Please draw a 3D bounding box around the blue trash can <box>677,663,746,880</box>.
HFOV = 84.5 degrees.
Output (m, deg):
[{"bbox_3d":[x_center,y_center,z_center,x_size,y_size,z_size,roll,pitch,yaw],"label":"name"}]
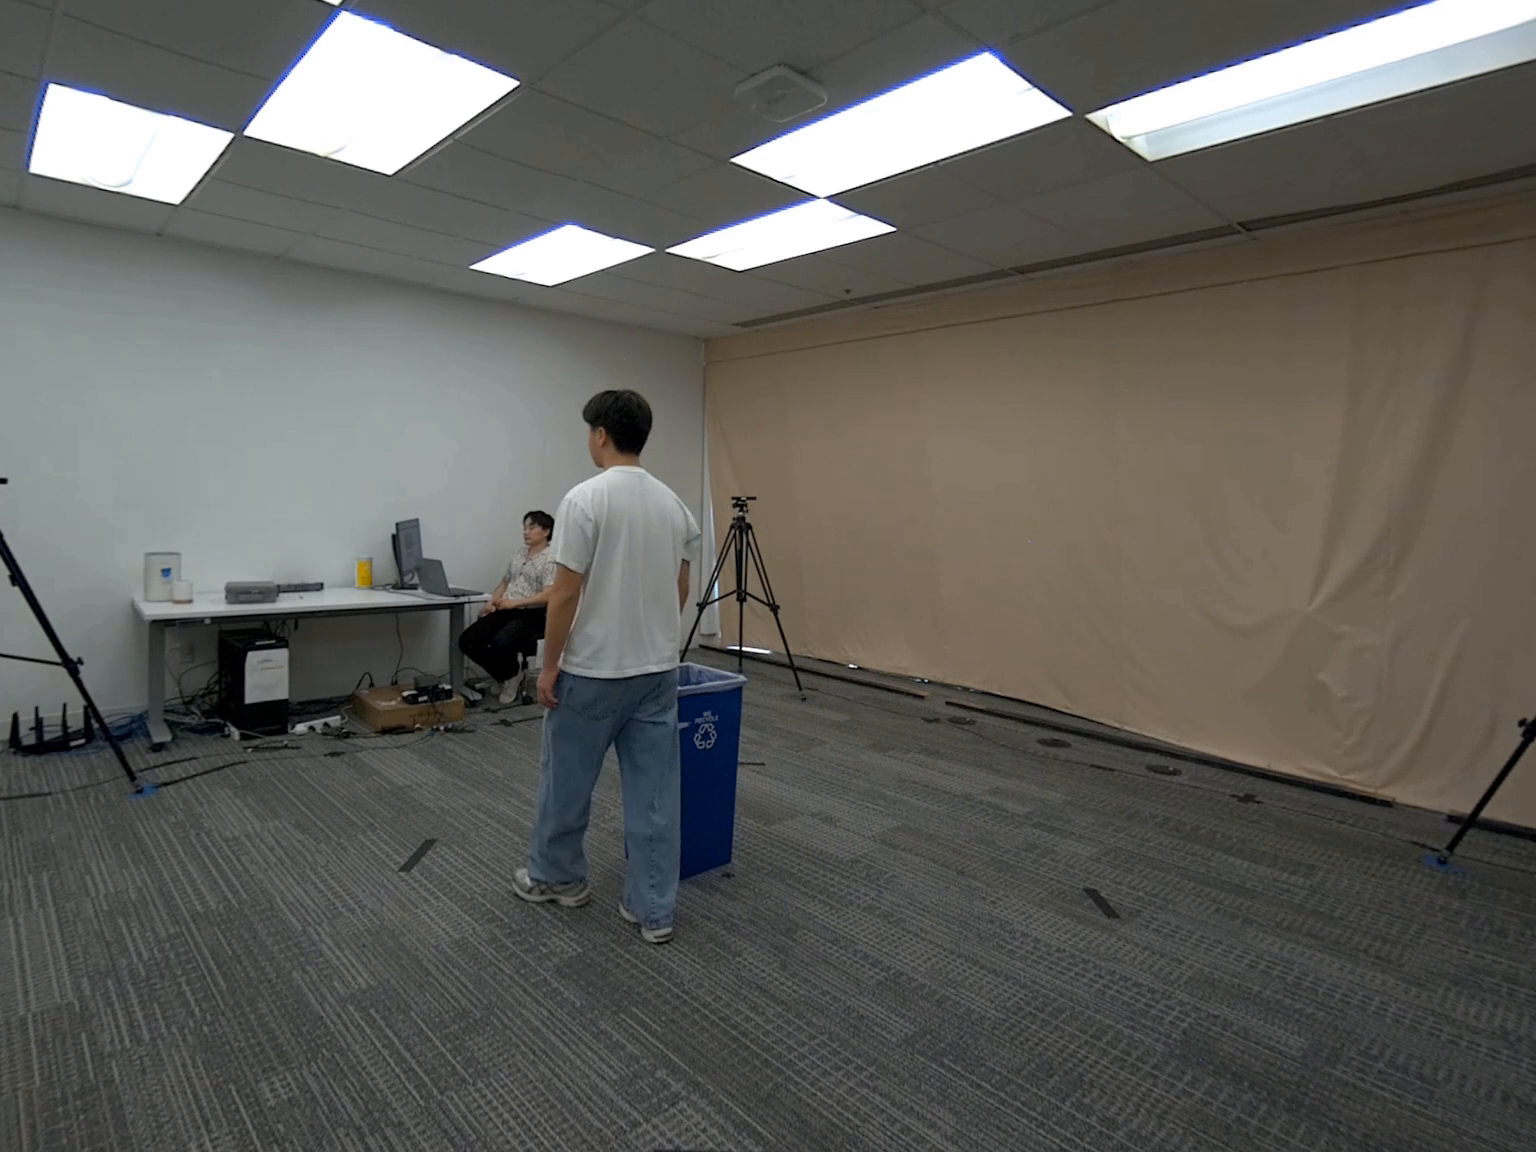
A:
[{"bbox_3d":[-0.337,0.732,3.227,0.365,0.712,0.388,-2,5,-43],"label":"blue trash can"}]
